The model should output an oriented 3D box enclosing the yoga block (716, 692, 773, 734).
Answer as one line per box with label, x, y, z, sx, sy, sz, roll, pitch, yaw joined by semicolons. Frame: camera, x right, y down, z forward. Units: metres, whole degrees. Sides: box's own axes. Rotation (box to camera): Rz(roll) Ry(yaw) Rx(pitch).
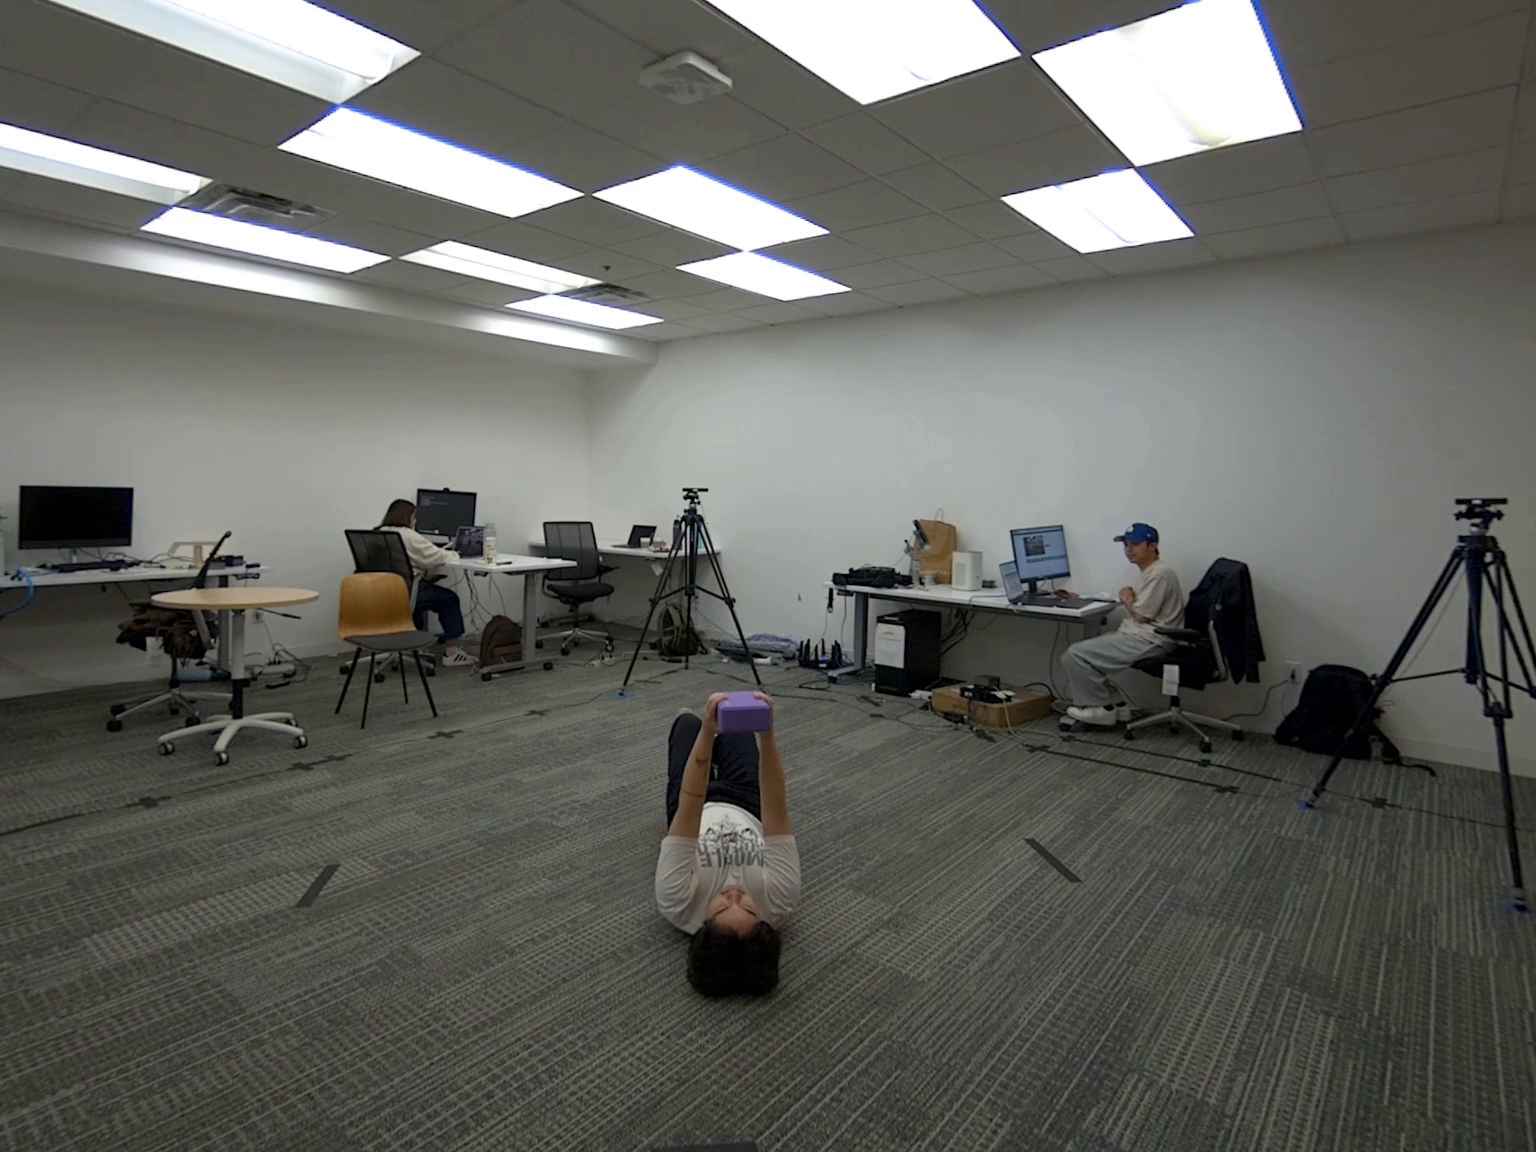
yoga block;-0.099;0.412;2.582;0.148;0.076;0.231;0;3;-7
